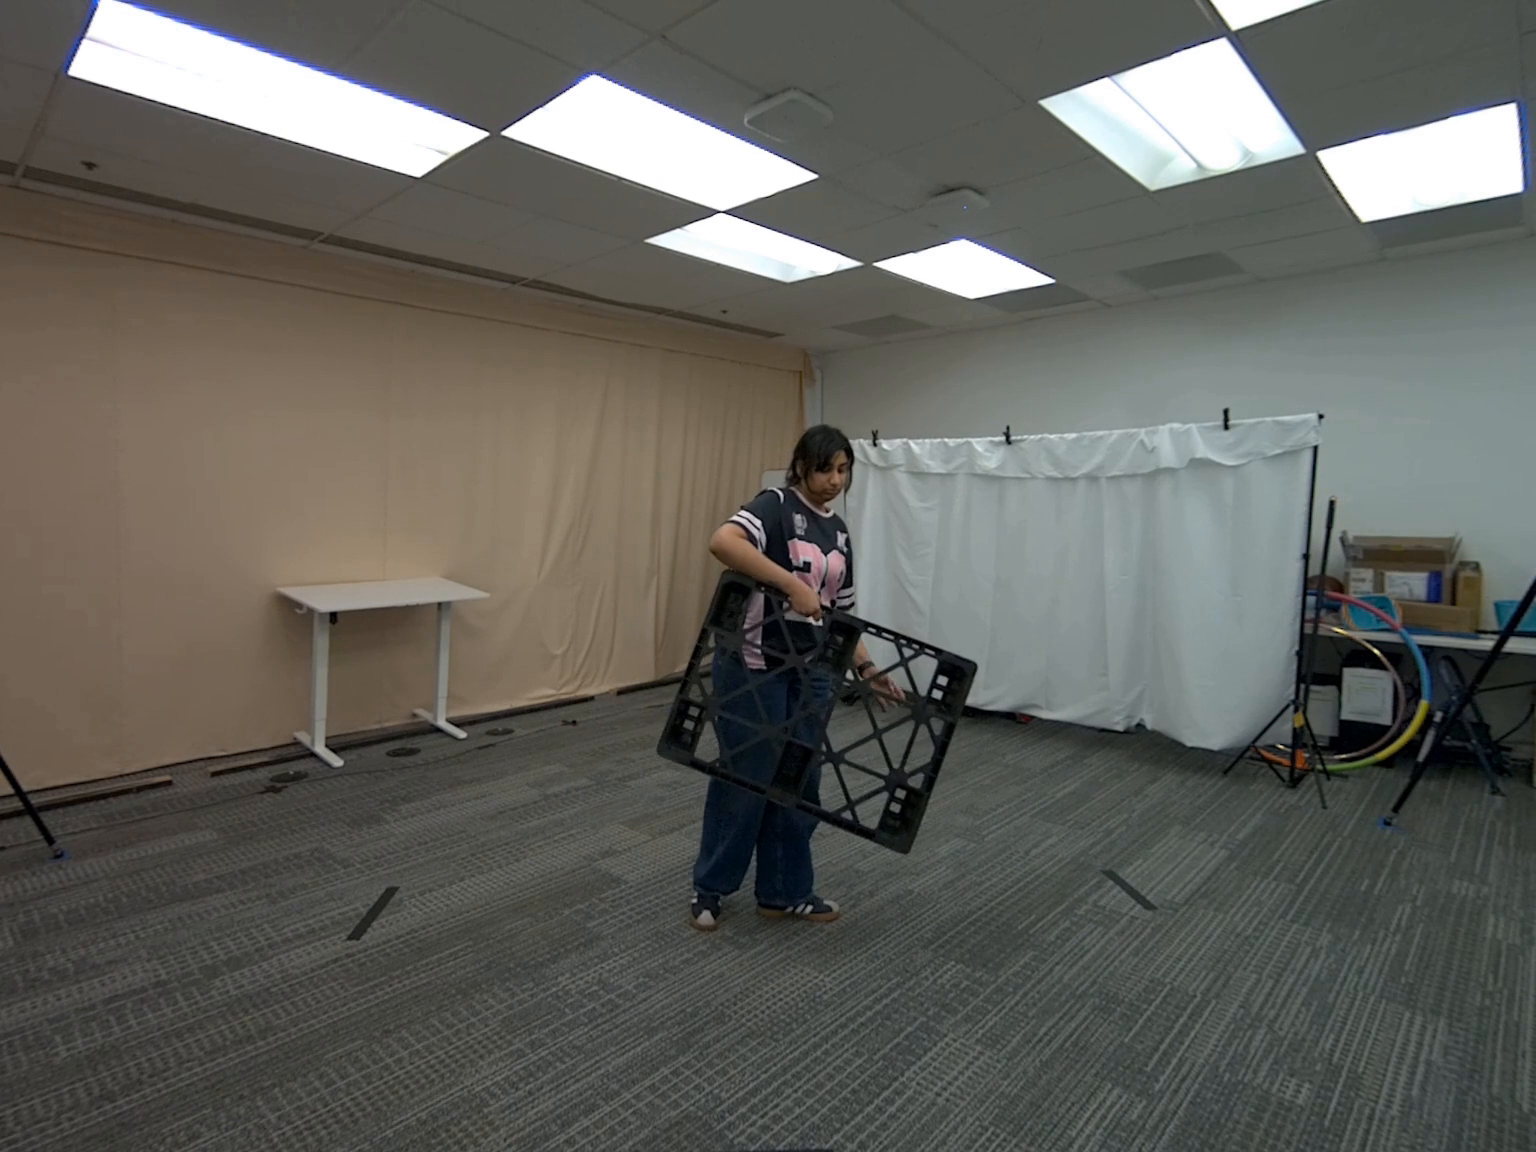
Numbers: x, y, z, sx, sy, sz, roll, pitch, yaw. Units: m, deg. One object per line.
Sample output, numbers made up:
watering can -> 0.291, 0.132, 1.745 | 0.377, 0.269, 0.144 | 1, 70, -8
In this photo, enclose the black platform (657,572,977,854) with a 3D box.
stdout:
black platform -> 0.143, 0.390, 2.549 | 0.811, 0.605, 0.142 | 21, -1, 5
